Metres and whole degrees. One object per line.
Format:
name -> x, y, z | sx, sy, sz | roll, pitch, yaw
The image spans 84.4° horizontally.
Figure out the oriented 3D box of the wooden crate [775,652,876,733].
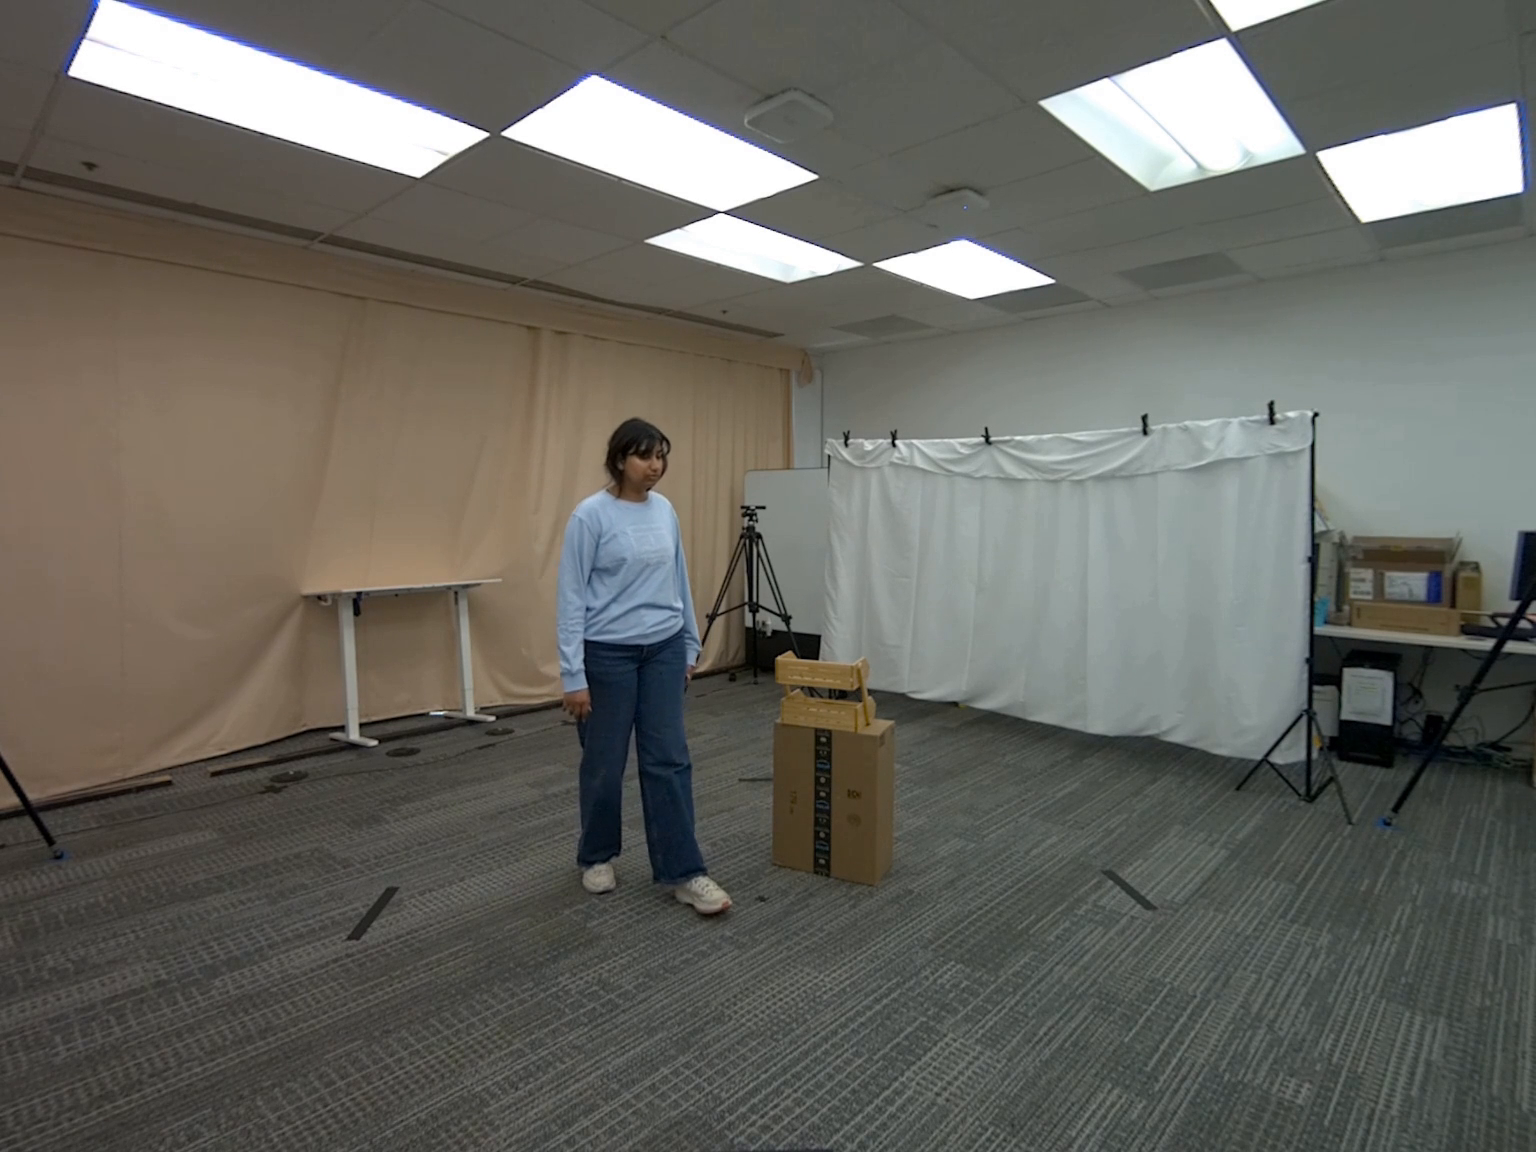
wooden crate -> 0.230, 0.426, 3.223 | 0.332, 0.272, 0.295 | 2, 6, 24
